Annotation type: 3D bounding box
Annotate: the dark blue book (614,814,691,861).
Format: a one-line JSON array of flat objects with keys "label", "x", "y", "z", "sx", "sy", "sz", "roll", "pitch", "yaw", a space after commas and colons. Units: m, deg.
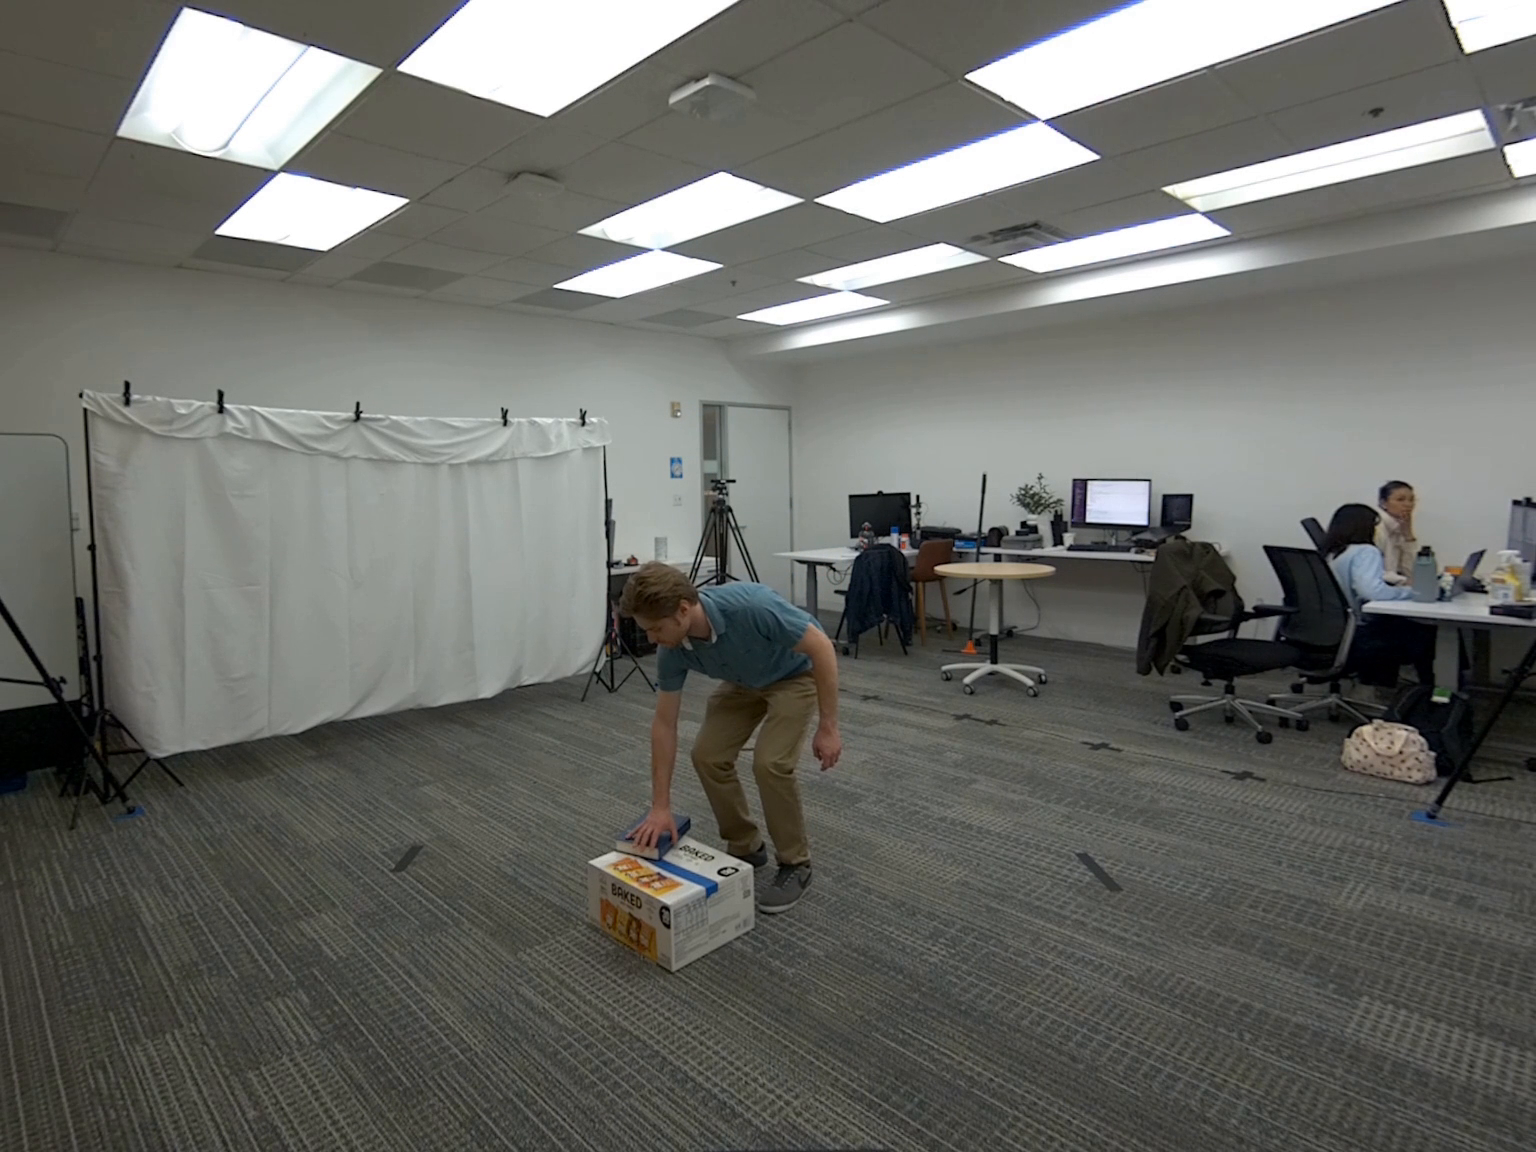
[{"label": "dark blue book", "x": -0.378, "y": 0.864, "z": 2.842, "sx": 0.167, "sy": 0.045, "sz": 0.242, "roll": 4, "pitch": 10, "yaw": 20}]
